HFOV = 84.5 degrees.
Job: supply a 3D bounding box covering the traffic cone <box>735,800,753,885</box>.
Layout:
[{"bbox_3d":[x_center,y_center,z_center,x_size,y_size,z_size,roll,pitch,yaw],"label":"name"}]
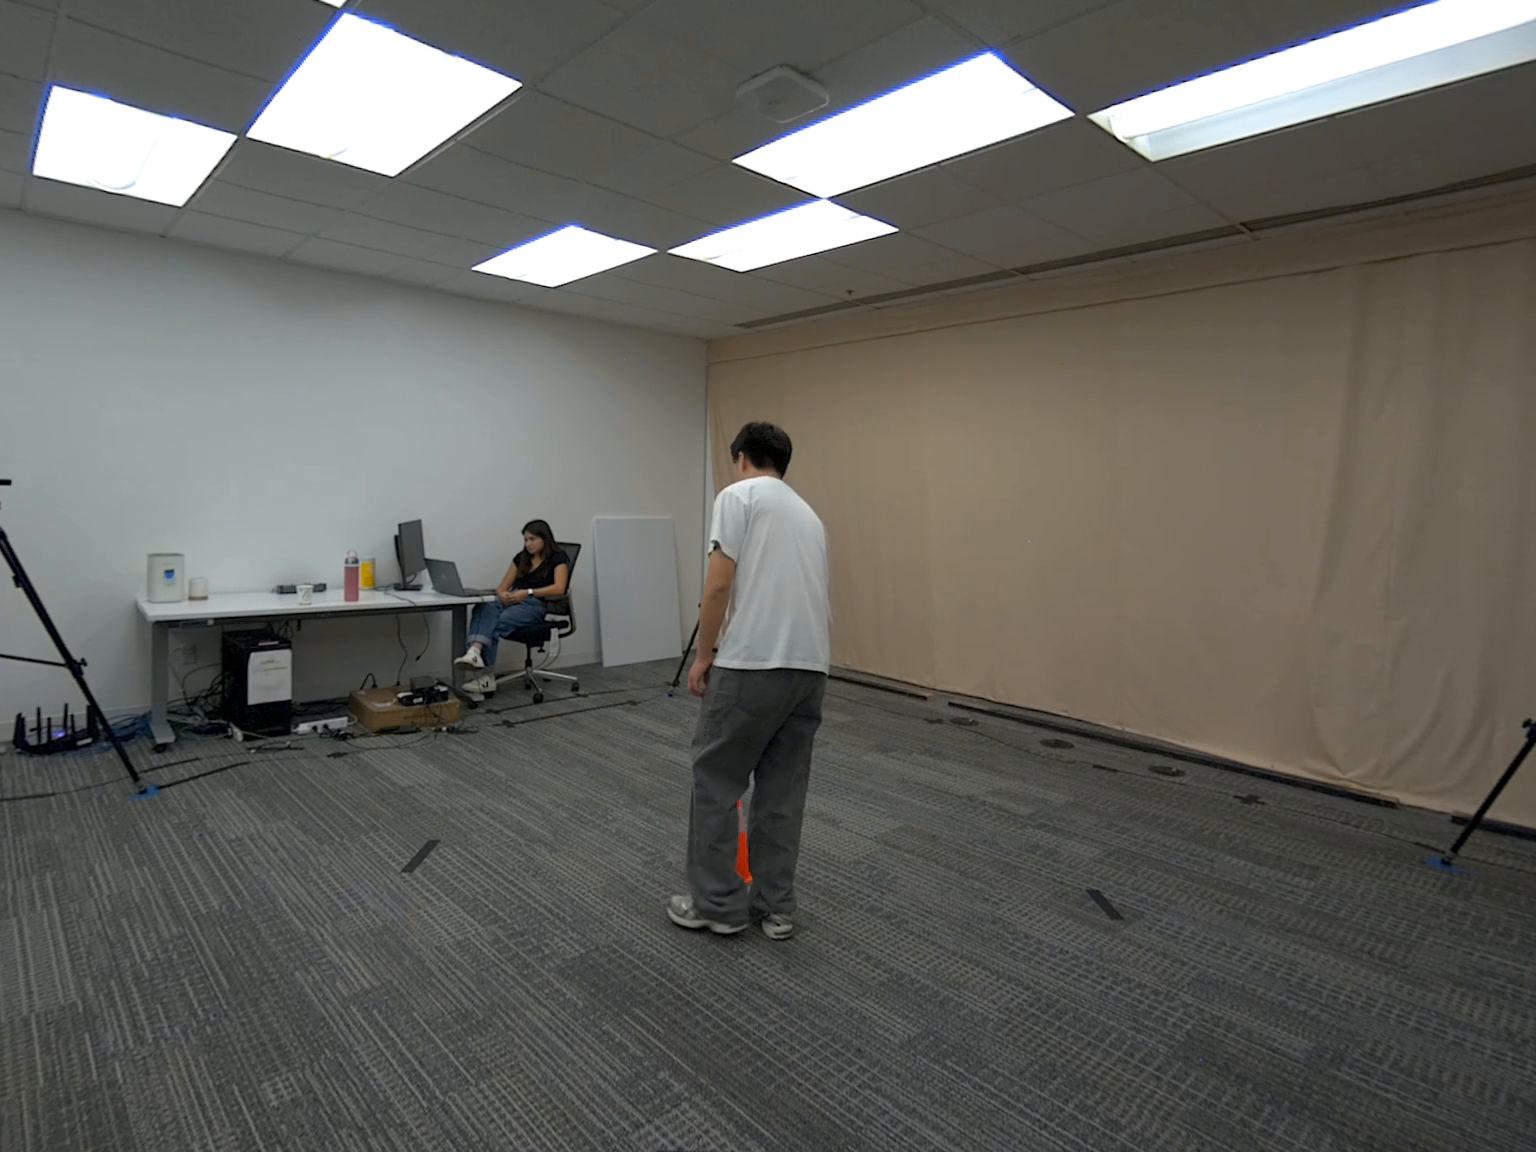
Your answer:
[{"bbox_3d":[-0.143,0.927,3.108,0.210,0.382,0.199,5,6,42],"label":"traffic cone"}]
